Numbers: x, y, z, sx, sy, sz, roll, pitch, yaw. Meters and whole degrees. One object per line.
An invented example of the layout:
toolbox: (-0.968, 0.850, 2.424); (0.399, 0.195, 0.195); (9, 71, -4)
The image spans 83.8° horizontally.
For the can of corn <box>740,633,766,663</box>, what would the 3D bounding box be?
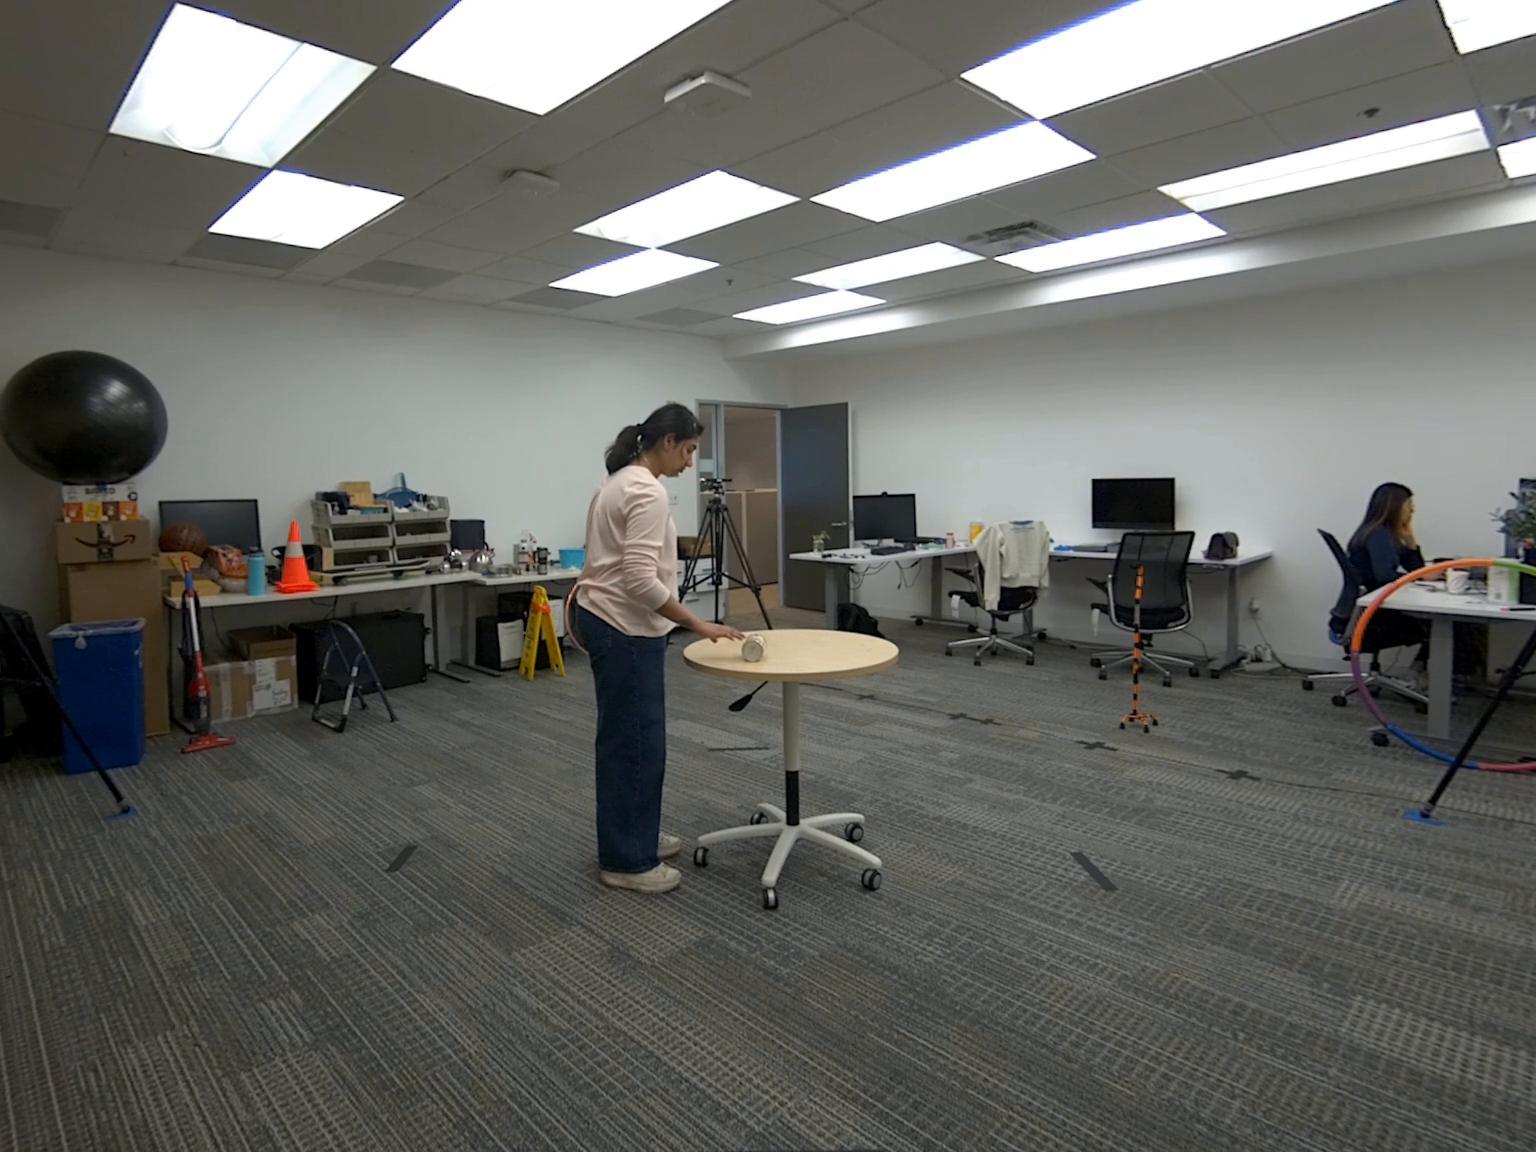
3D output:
can of corn: (-0.048, 0.240, 2.909); (0.075, 0.074, 0.111); (0, 6, 6)
